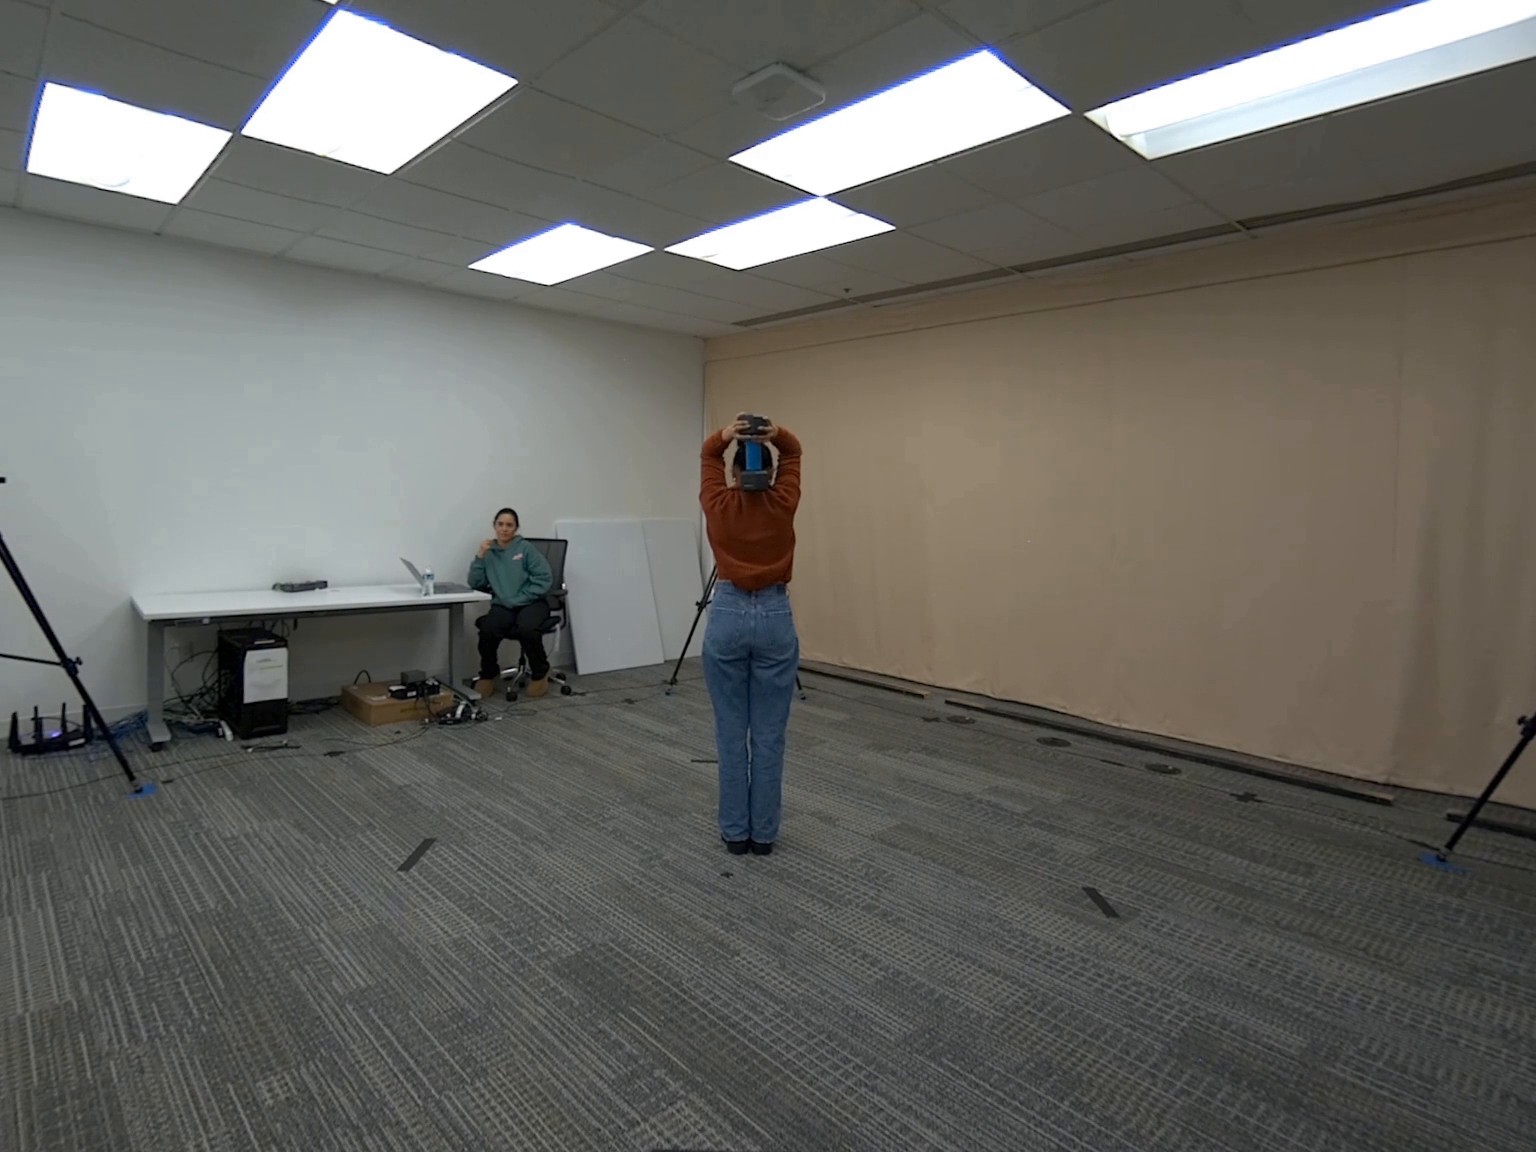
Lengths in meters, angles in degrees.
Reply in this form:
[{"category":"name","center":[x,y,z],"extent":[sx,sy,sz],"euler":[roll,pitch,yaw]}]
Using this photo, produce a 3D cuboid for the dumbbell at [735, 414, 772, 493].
[{"category":"dumbbell","center":[-0.065,-0.468,3.208],"extent":[0.108,0.293,0.124],"euler":[0,2,-8]}]
